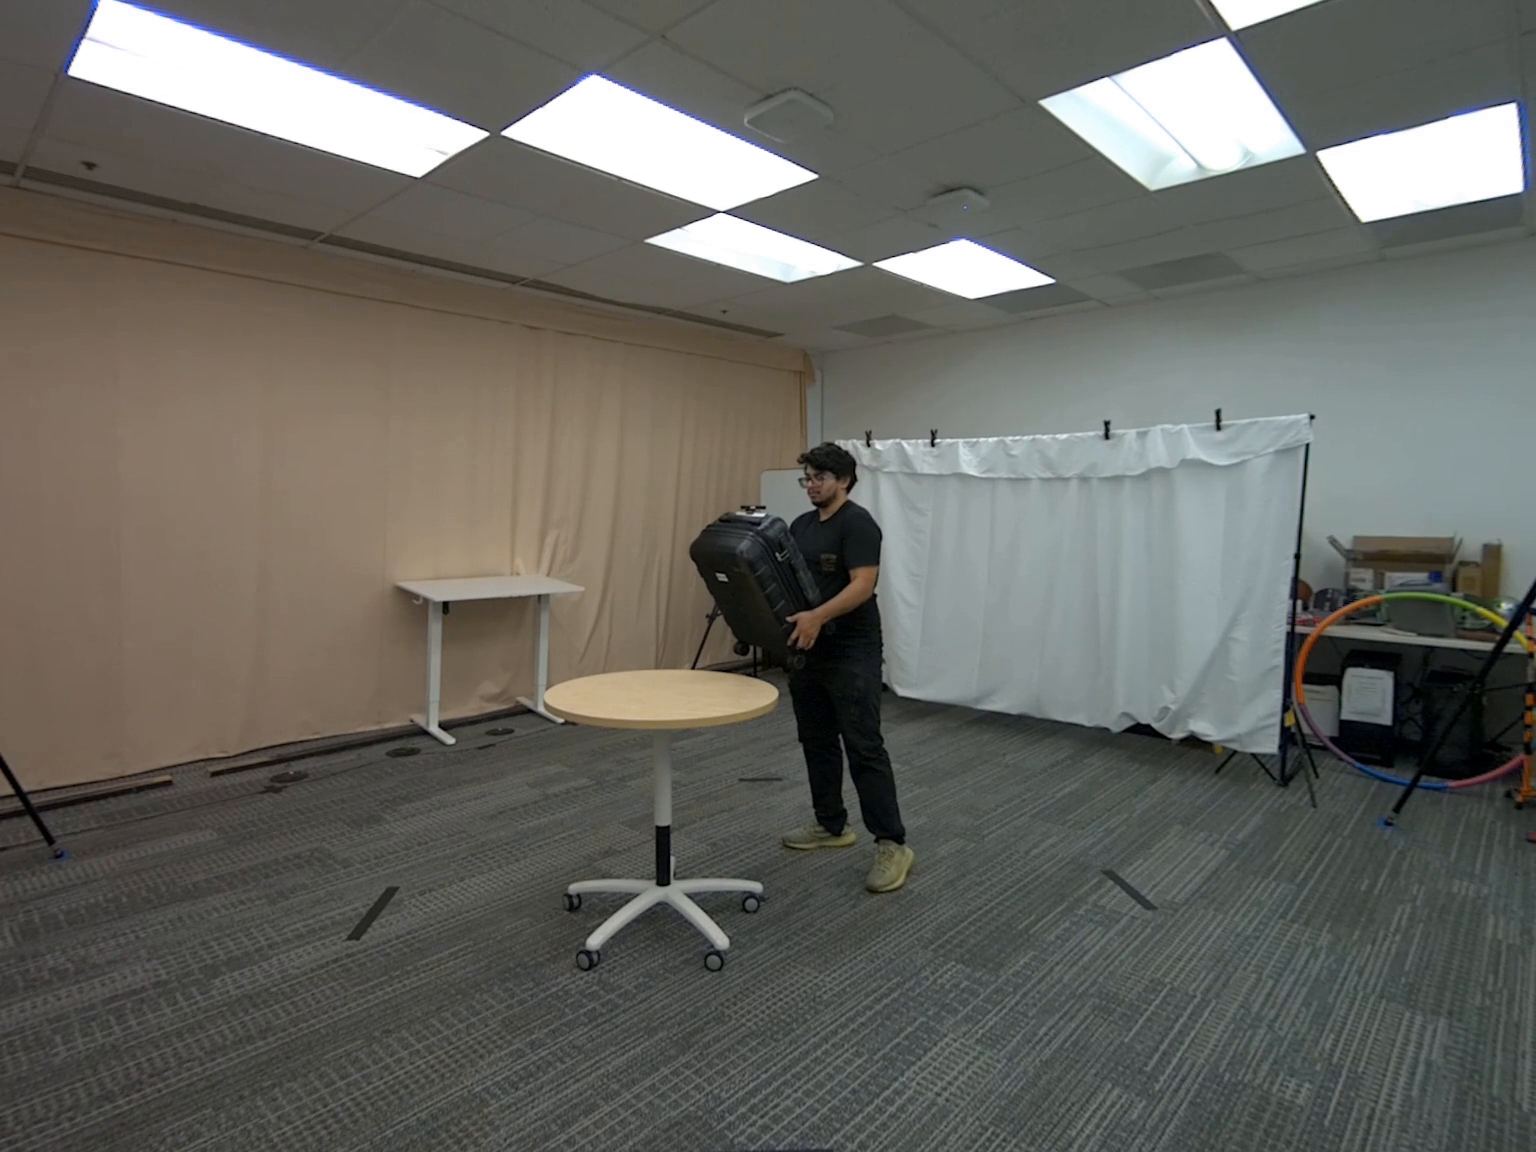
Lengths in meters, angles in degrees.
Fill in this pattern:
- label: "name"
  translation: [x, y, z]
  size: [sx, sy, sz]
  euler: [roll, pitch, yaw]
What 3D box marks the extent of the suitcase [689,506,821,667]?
- label: "suitcase"
  translation: [-0.031, 0.032, 3.129]
  size: [0.246, 0.536, 0.388]
  euler: [-43, 29, -25]
